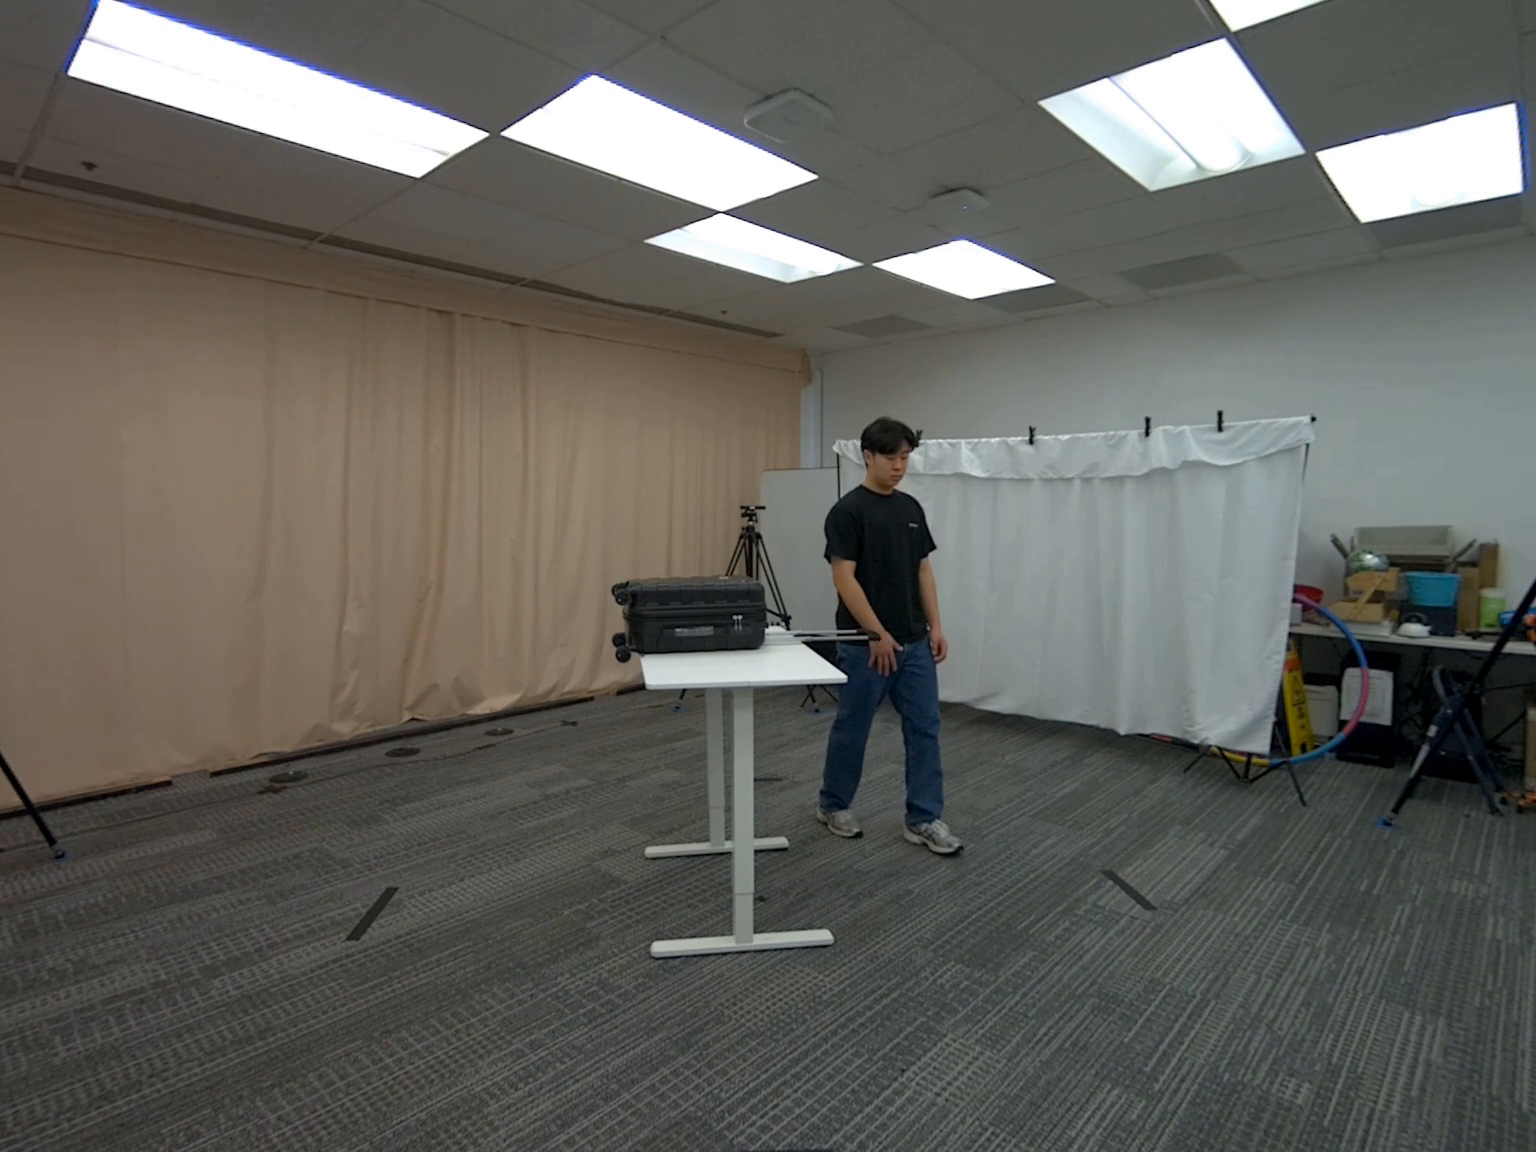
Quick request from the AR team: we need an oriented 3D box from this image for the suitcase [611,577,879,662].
[{"bbox_3d":[-0.087,0.126,3.112,0.968,0.256,0.389,-4,4,-11],"label":"suitcase"}]
